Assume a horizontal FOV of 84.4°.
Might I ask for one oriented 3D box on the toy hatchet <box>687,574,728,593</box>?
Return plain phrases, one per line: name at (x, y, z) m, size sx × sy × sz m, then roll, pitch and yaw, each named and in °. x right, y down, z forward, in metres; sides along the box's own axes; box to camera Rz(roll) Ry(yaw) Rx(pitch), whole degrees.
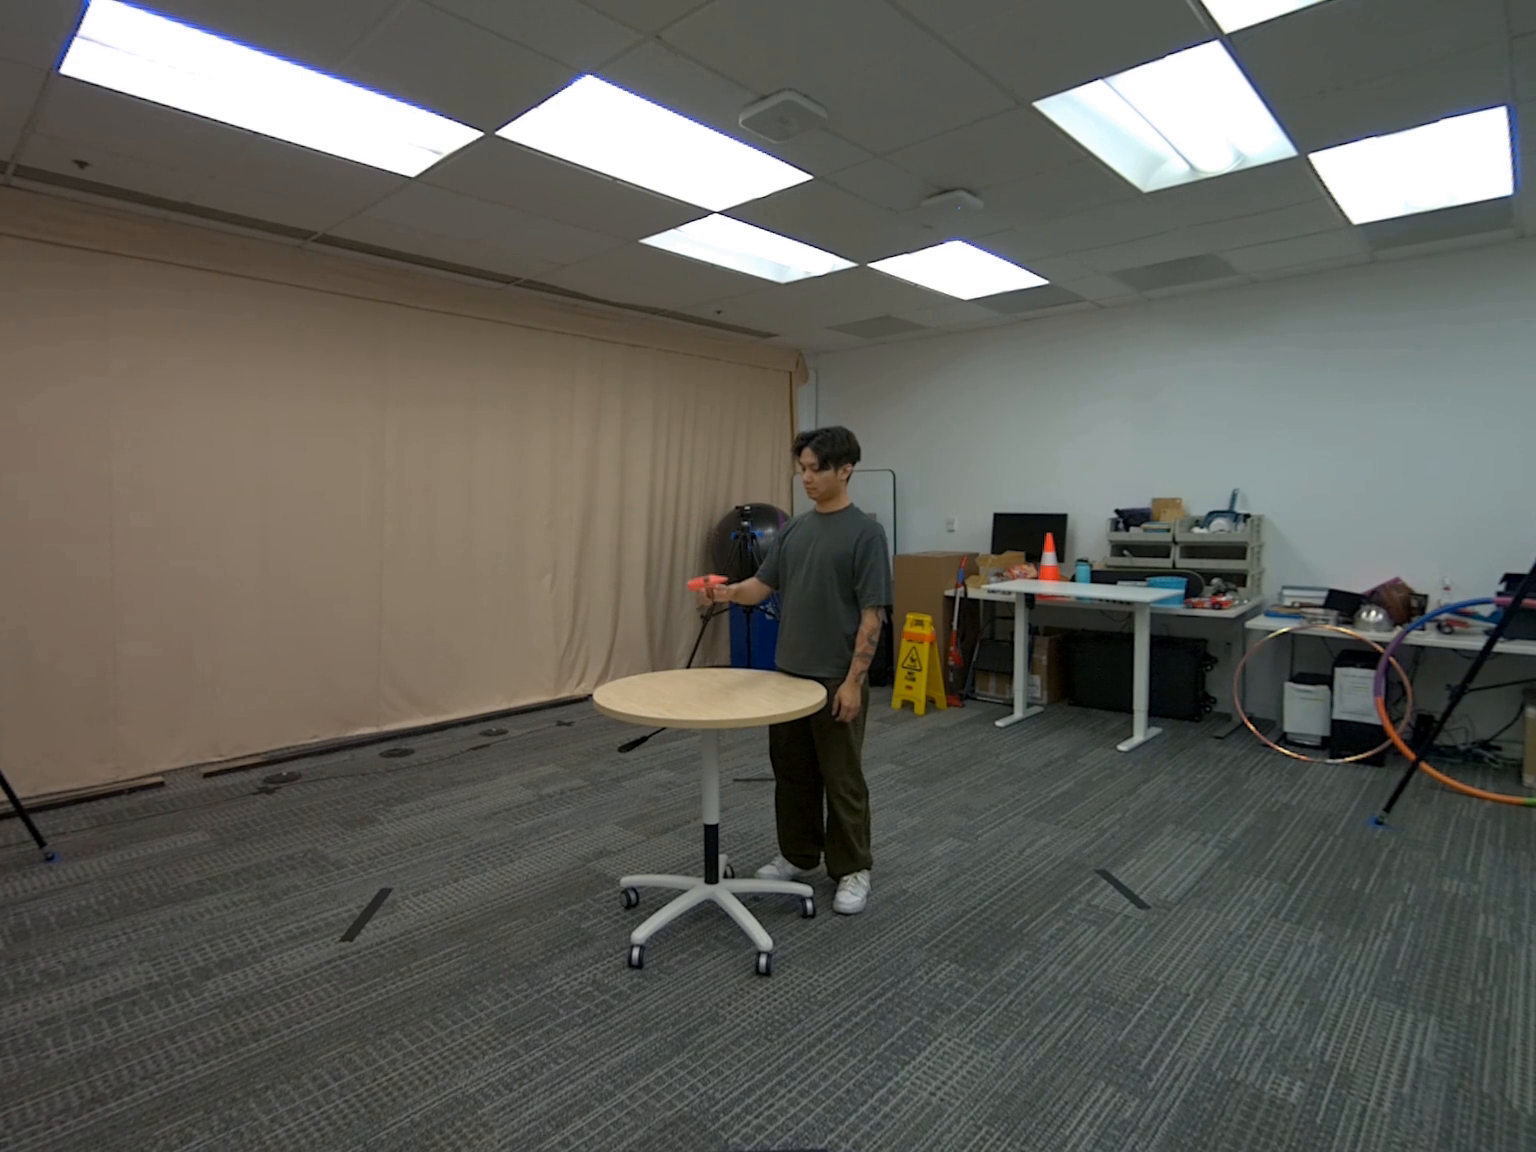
toy hatchet at (-0.225, 0.063, 2.839) m, size 0.128 × 0.030 × 0.271 m, roll -2°, pitch -23°, yaw -20°
